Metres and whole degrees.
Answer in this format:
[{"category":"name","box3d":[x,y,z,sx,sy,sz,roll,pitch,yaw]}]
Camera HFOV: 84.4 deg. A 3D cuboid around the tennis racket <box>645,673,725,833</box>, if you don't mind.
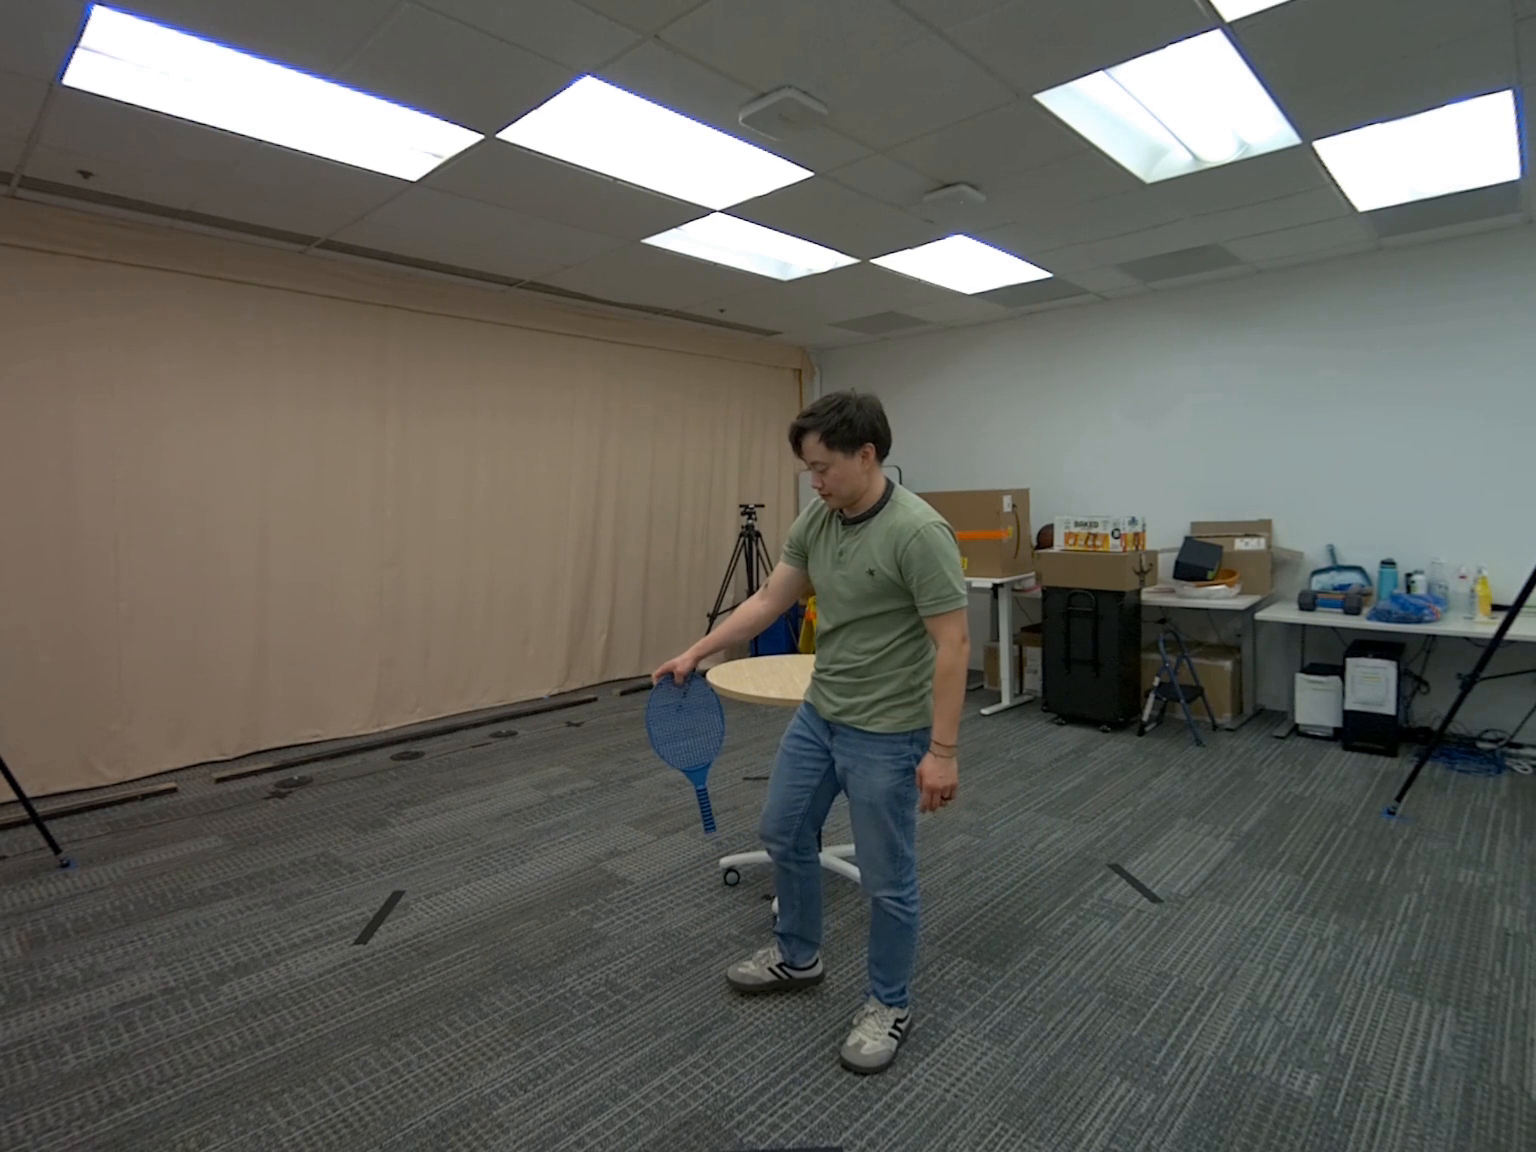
[{"category":"tennis racket","box3d":[-0.185,0.479,2.262,0.211,0.435,0.032,-17,-5,-13]}]
